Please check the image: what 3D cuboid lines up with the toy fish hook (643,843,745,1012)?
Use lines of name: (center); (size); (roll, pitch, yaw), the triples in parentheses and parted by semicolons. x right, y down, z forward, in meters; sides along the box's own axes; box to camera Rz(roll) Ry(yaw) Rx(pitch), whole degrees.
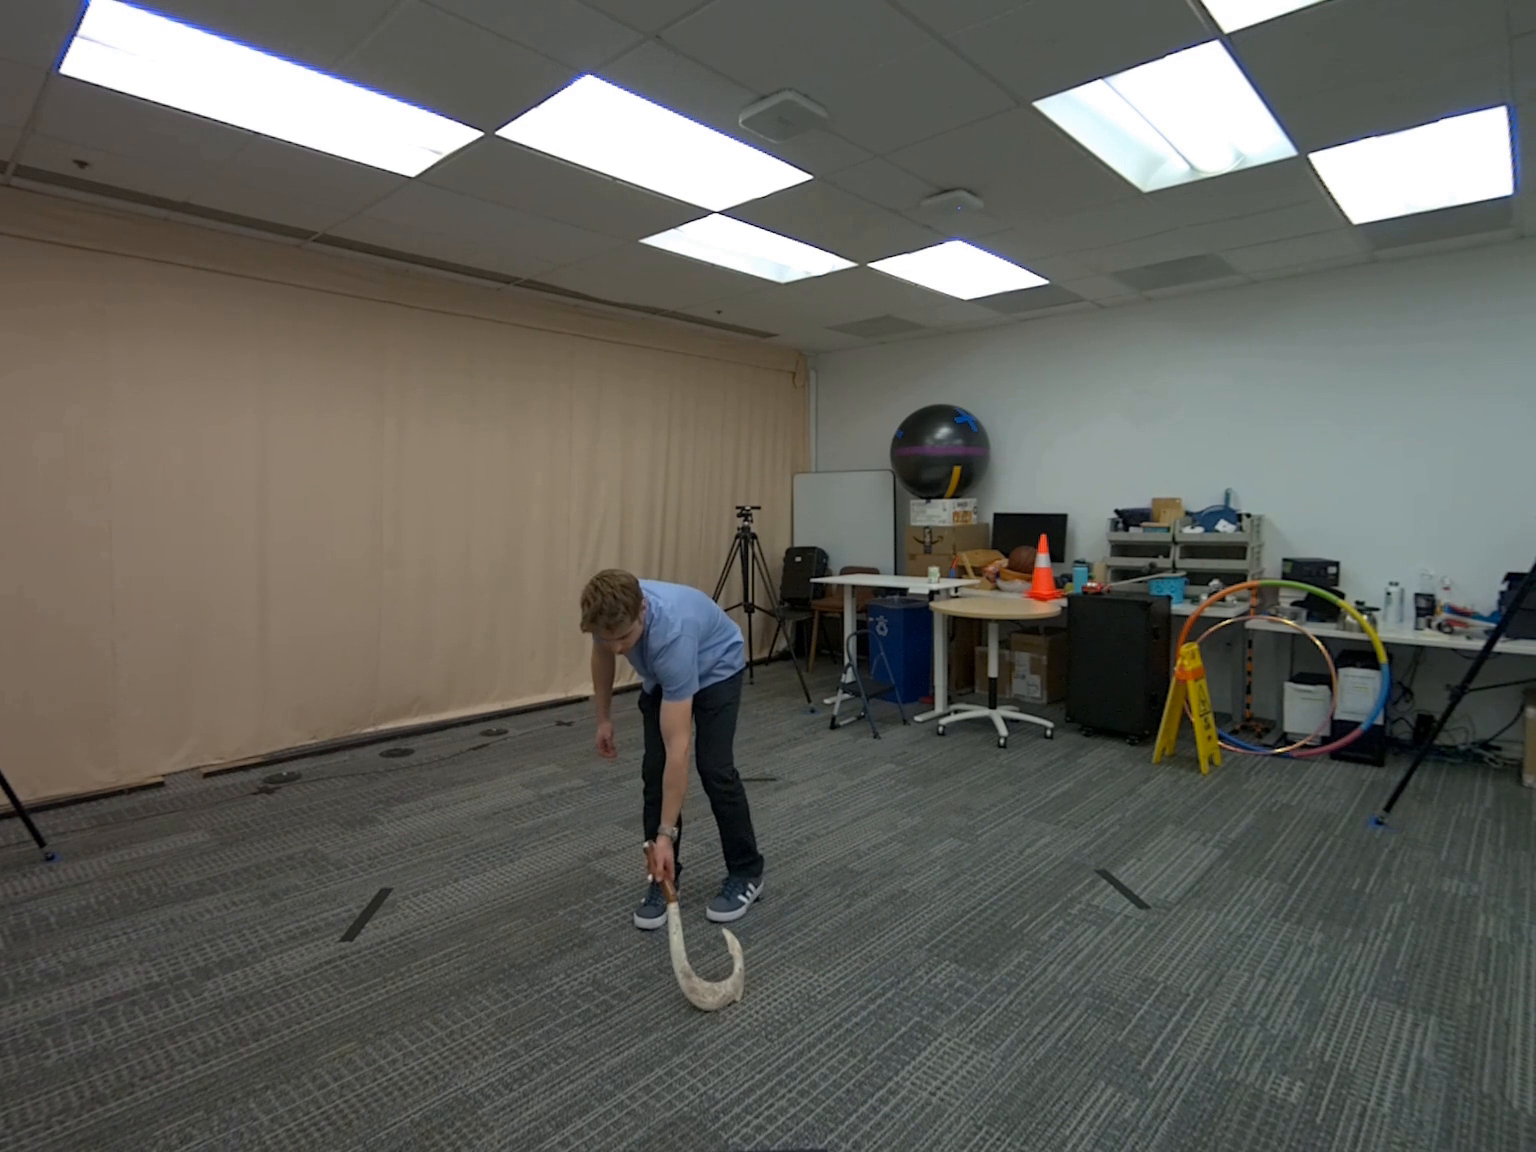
toy fish hook: (-0.215, 1.014, 2.475); (0.218, 0.521, 0.048); (2, -44, -36)
